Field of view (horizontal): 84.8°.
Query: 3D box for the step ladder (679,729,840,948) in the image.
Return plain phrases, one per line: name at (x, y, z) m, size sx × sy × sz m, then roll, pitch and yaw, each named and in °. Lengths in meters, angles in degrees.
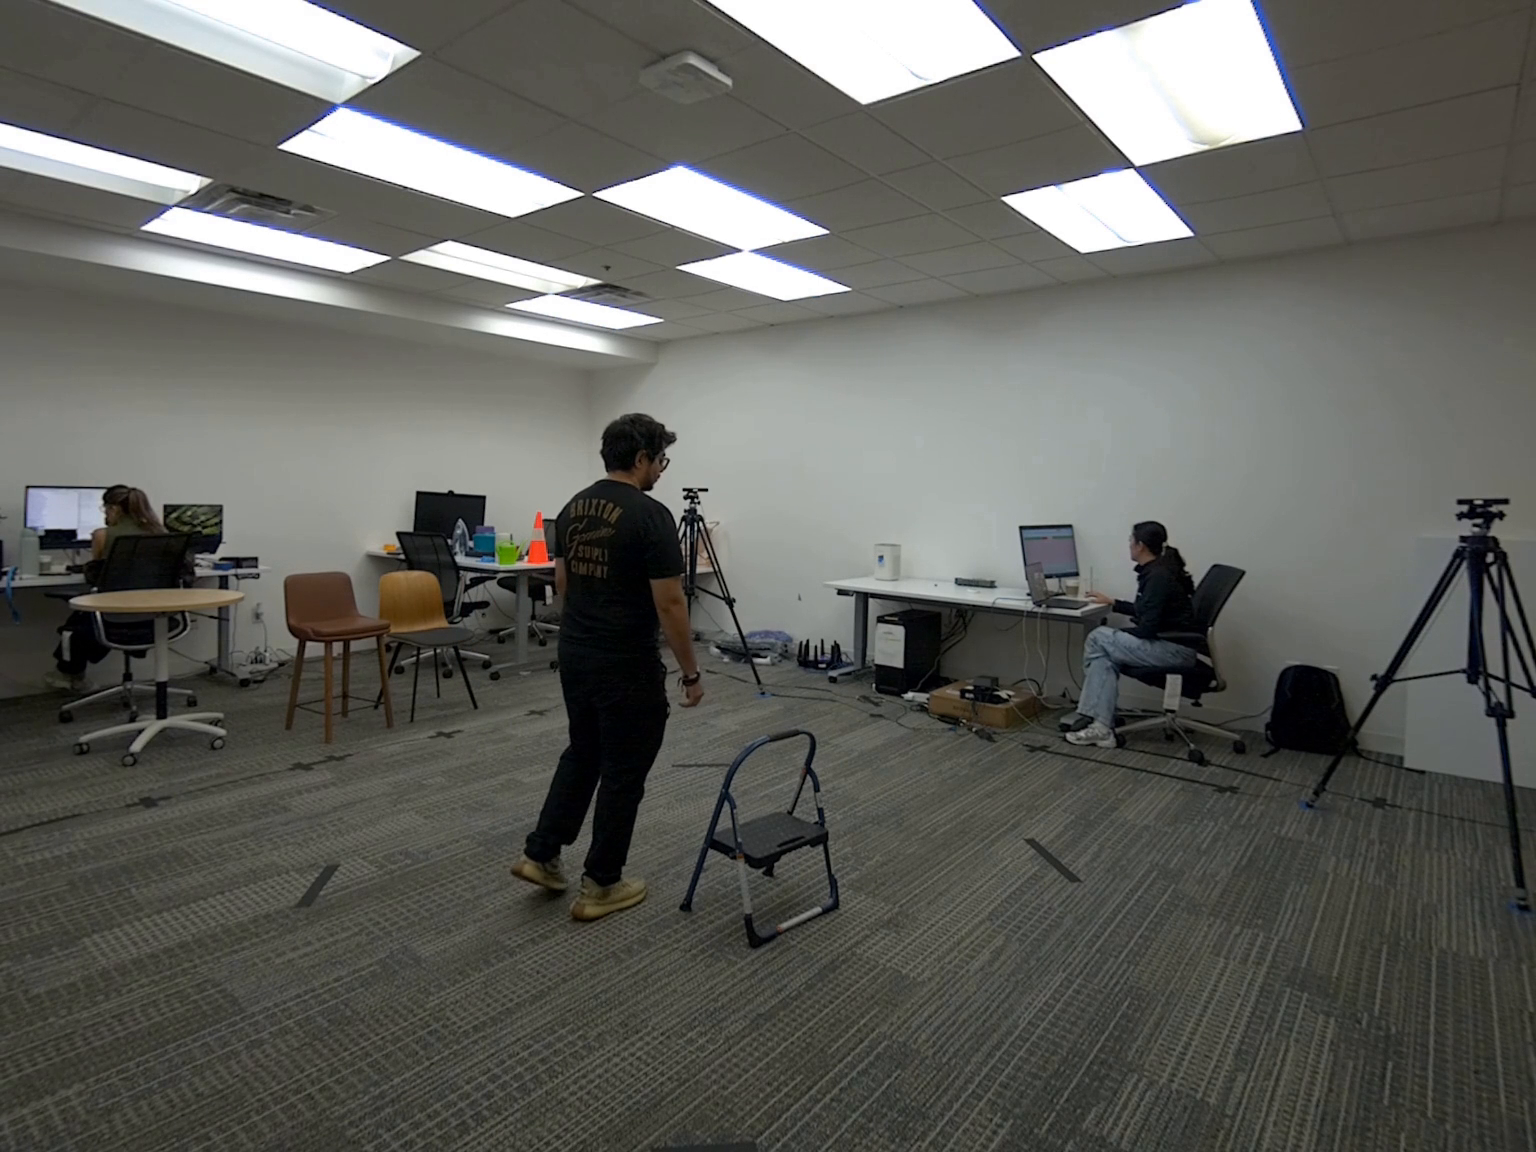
step ladder at (-0.022, 0.802, 2.813) m, size 0.417 × 0.605 × 0.361 m, roll -1°, pitch 4°, yaw -45°
